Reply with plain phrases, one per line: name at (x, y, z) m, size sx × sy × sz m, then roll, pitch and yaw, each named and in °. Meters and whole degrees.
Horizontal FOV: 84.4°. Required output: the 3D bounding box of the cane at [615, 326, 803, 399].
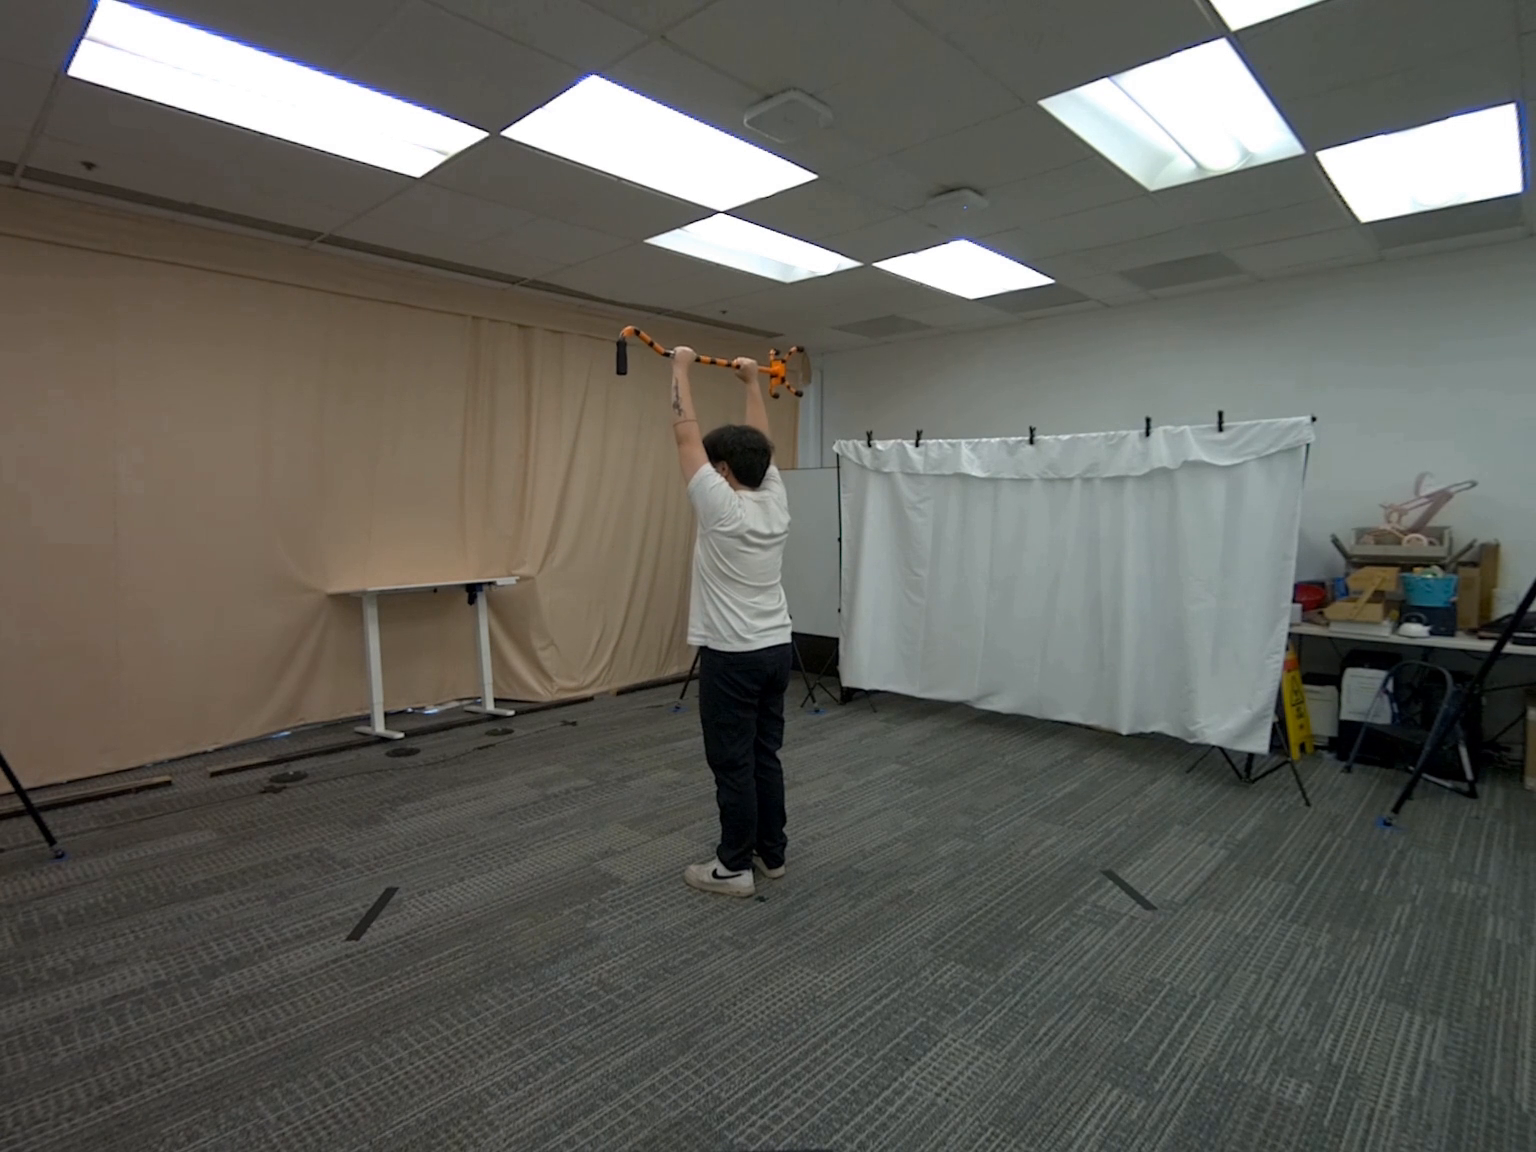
cane at (-0.205, -0.797, 3.103) m, size 0.157 × 0.206 × 0.881 m, roll 4°, pitch 7°, yaw 40°
